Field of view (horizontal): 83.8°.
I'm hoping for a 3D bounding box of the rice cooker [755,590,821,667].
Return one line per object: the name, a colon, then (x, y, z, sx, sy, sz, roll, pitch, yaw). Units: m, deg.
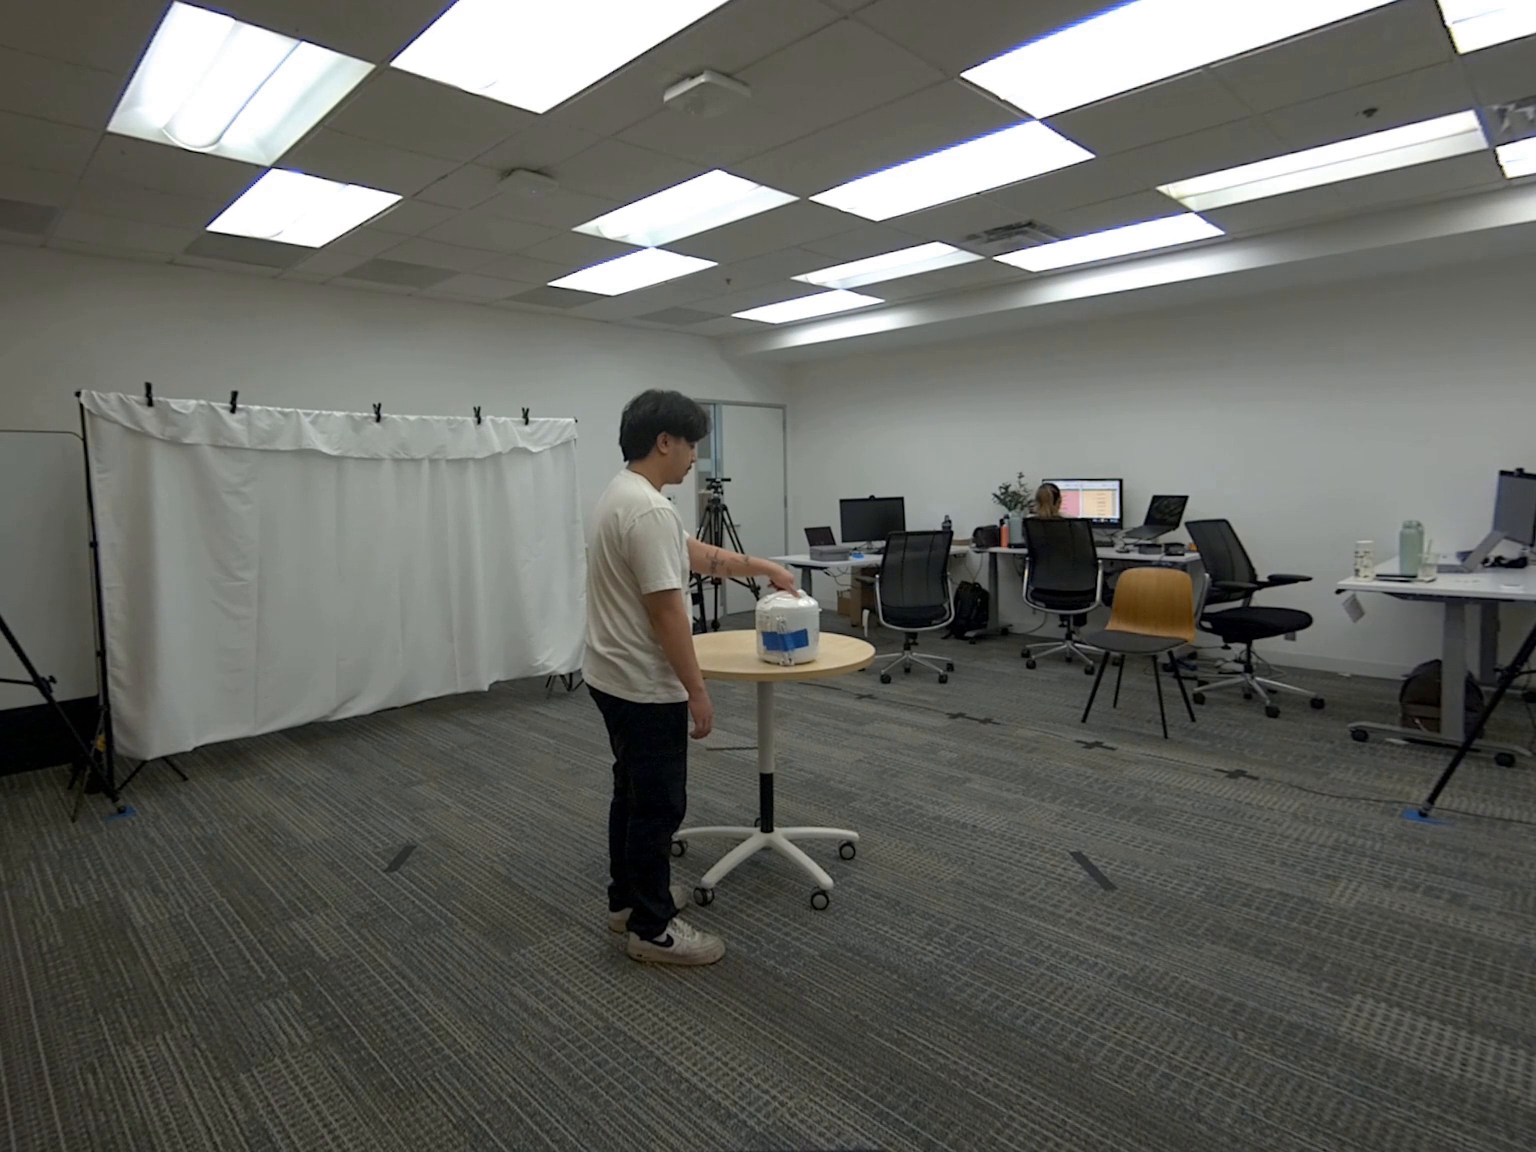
rice cooker: (0.064, 0.159, 2.807, 0.215, 0.232, 0.224, -4, 7, -38)
